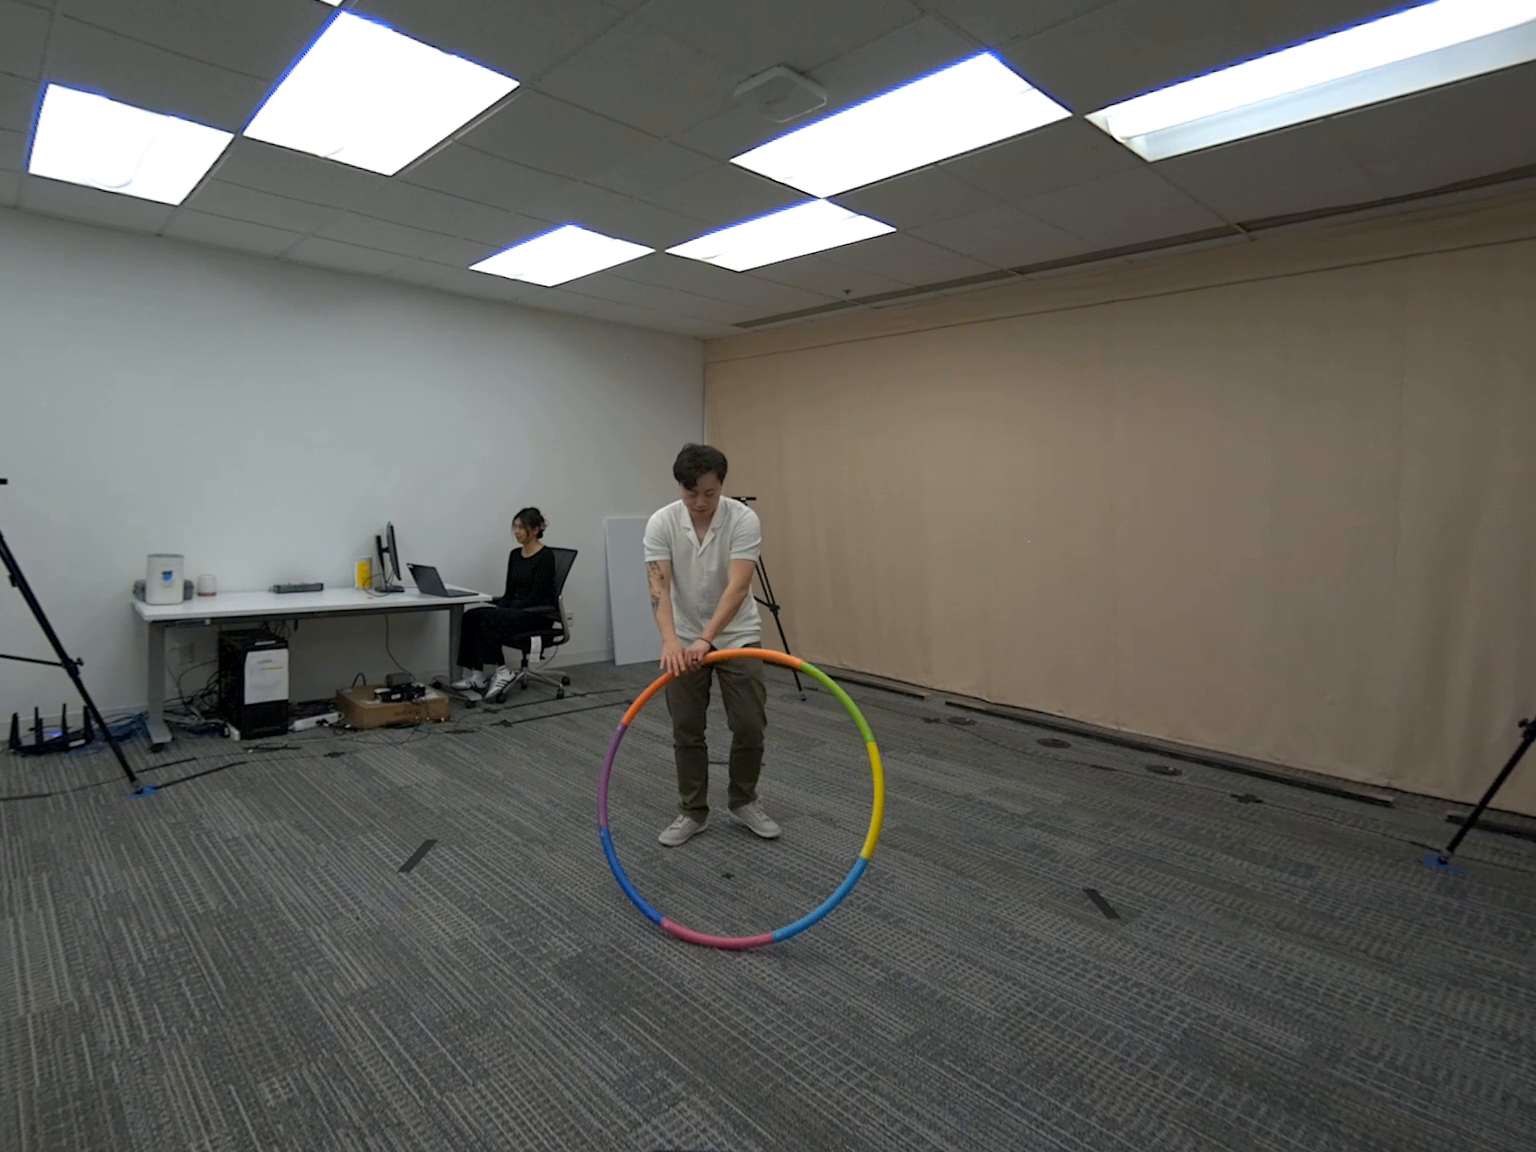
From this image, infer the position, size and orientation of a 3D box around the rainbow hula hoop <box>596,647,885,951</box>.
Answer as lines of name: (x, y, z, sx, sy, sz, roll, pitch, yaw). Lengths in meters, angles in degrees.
rainbow hula hoop: (-0.111, 0.703, 2.814, 0.991, 0.993, 0.034, 2, -28, 15)
